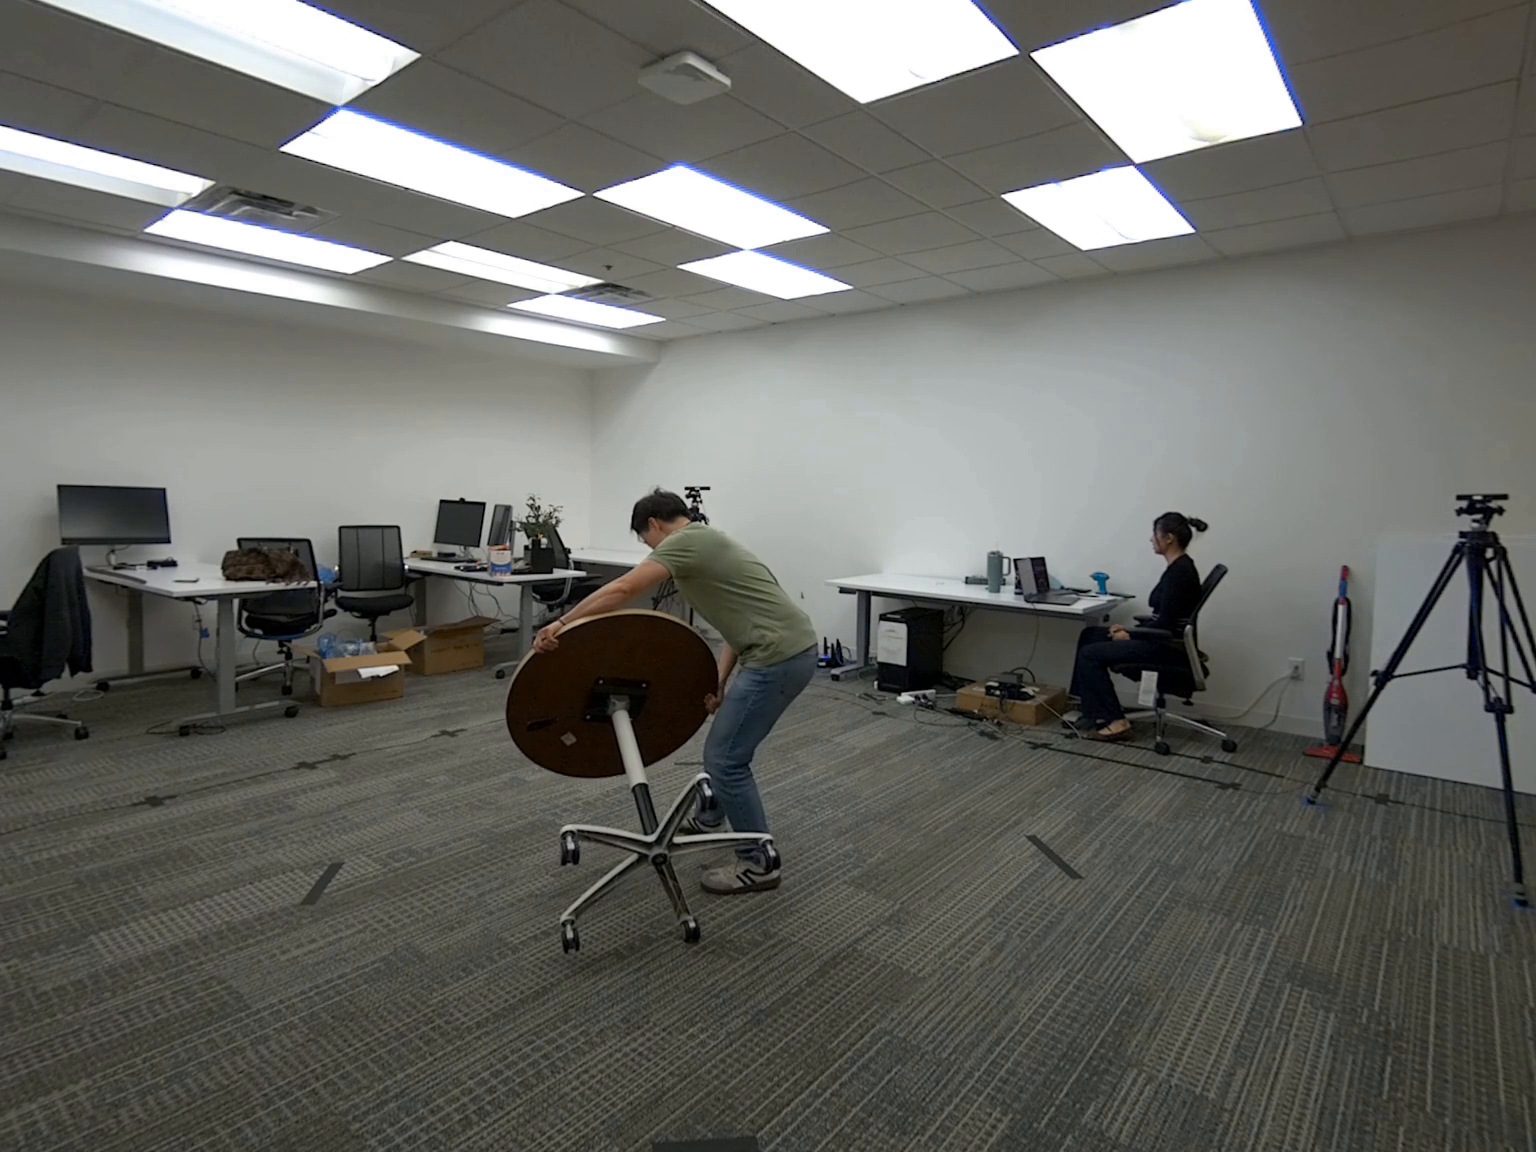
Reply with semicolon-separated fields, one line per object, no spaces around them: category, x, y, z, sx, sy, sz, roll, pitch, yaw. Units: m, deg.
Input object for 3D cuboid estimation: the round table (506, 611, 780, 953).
round table;-0.430;0.647;2.722;0.748;0.749;0.826;-1;33;-21
